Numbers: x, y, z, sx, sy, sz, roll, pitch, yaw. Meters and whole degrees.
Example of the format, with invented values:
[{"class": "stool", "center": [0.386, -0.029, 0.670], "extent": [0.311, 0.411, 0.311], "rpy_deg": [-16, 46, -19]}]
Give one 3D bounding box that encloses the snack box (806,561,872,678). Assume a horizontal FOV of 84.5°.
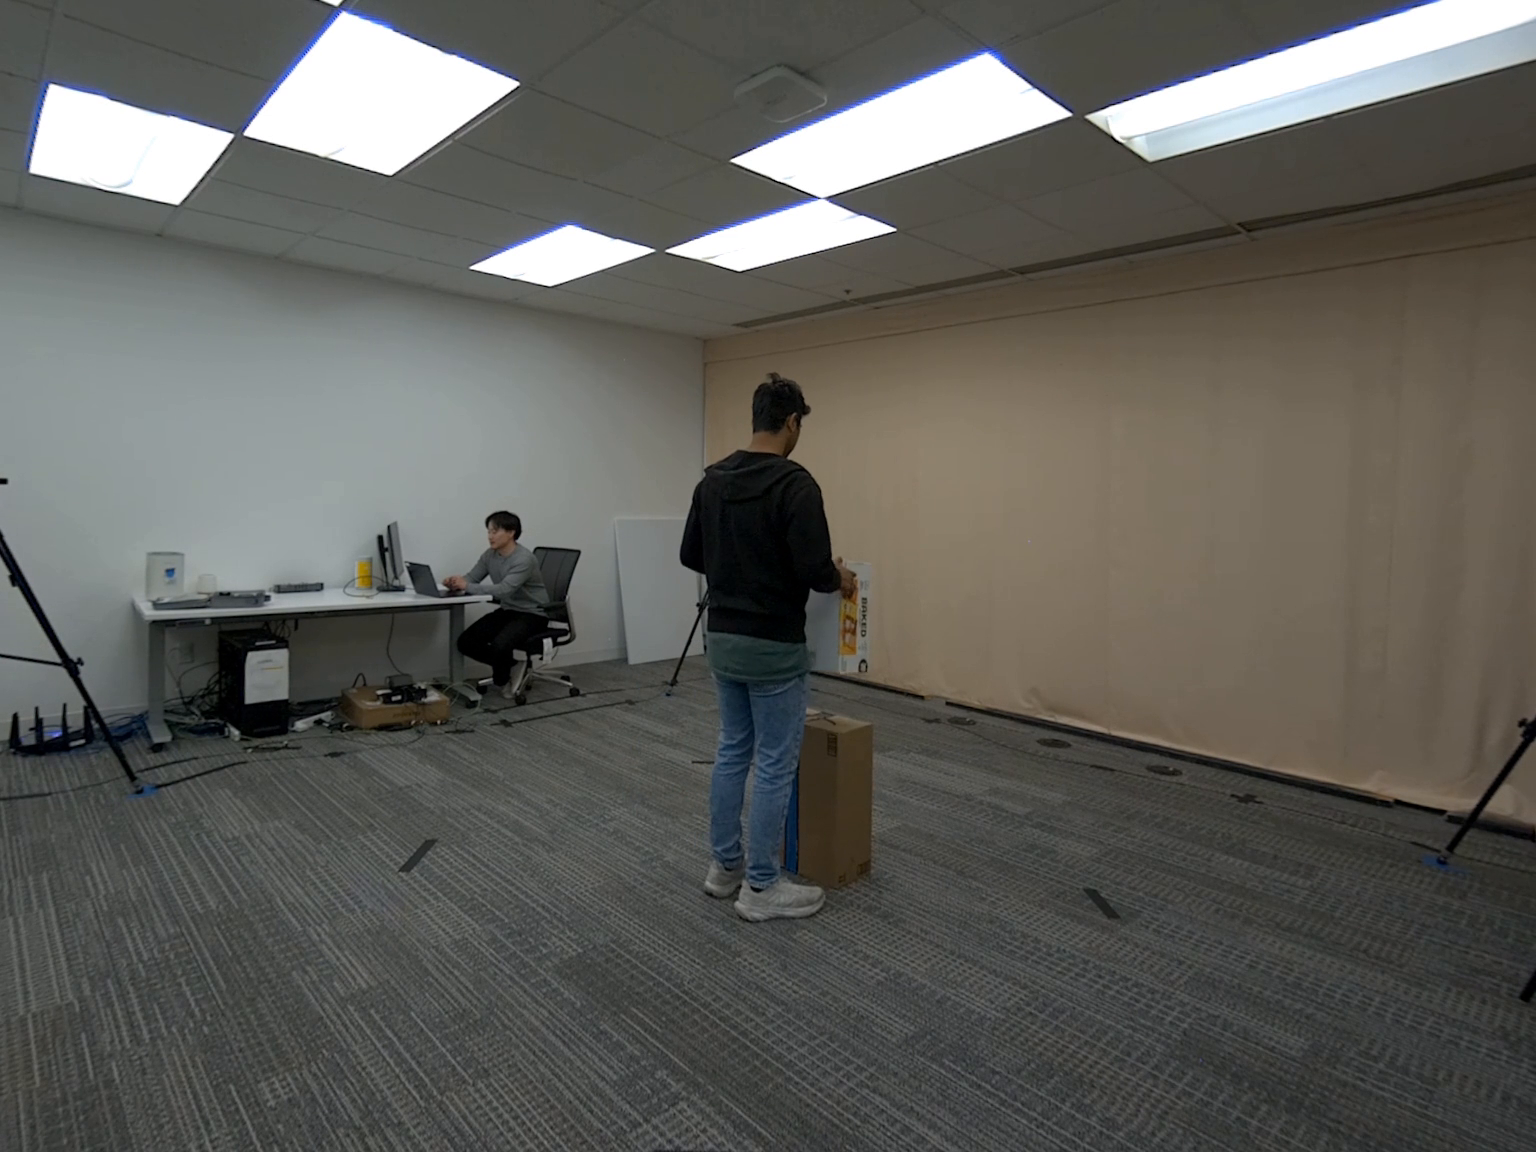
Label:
[{"class": "snack box", "center": [0.180, 0.152, 3.186], "extent": [0.348, 0.406, 0.200], "rpy_deg": [1, -3, 39]}]
